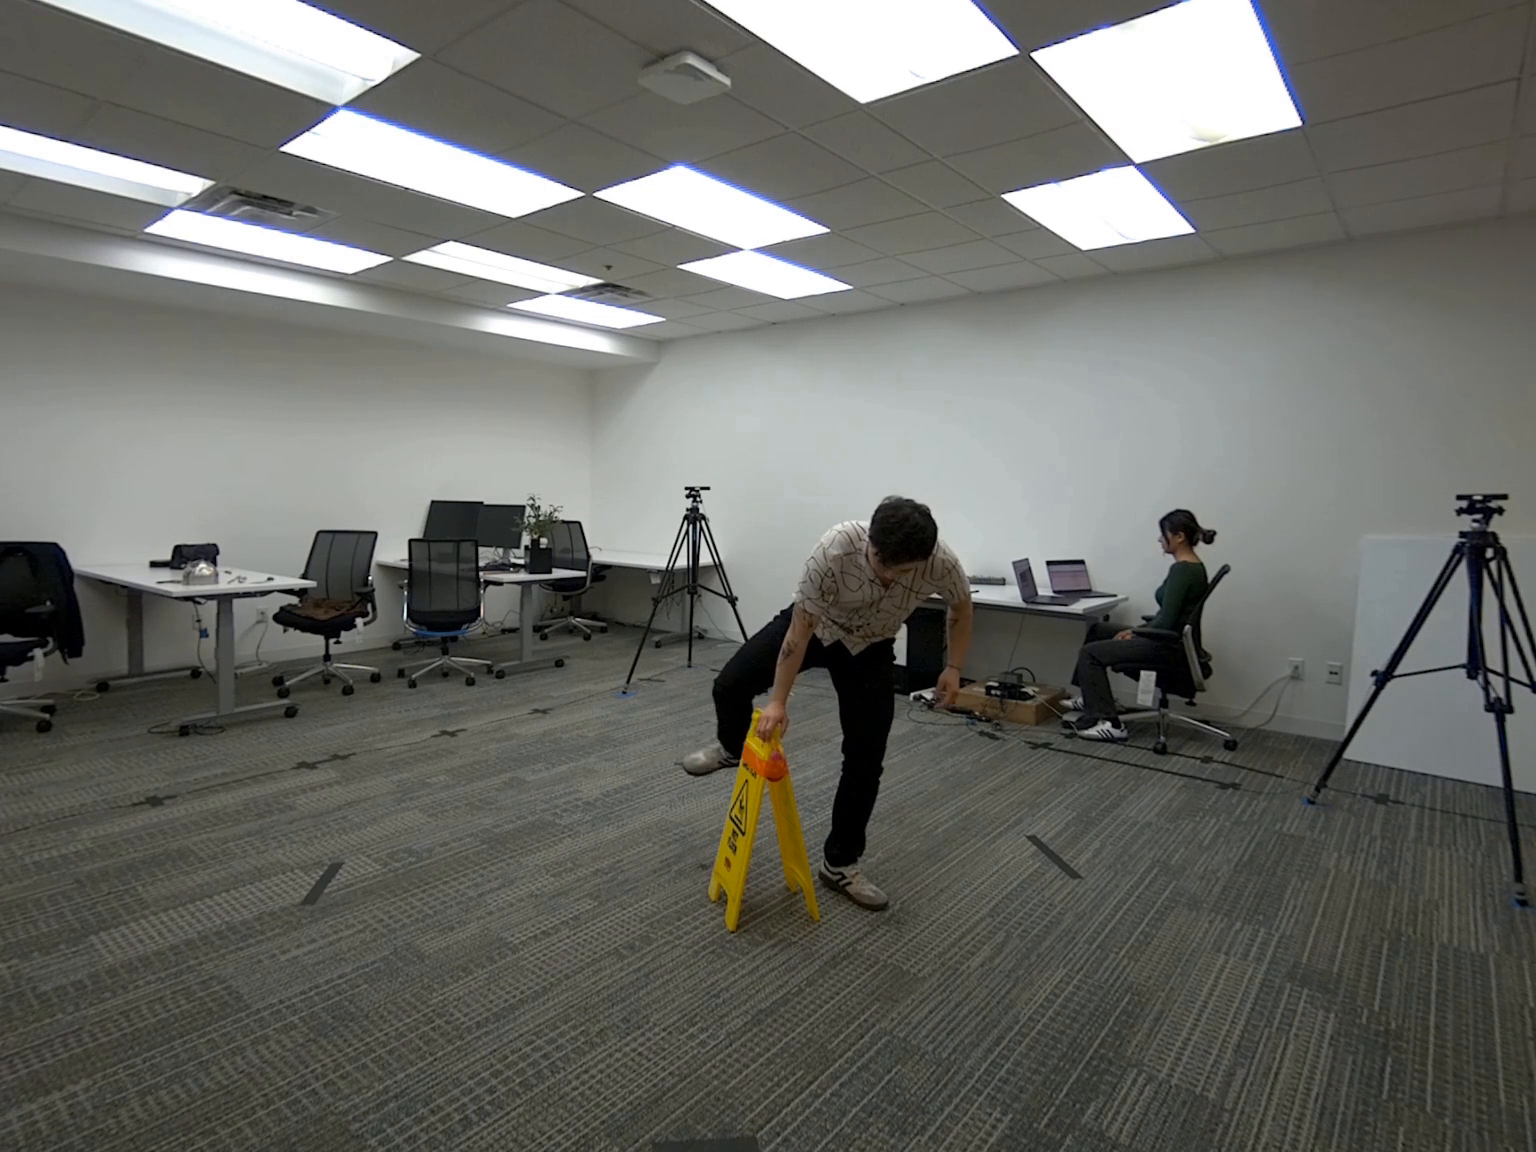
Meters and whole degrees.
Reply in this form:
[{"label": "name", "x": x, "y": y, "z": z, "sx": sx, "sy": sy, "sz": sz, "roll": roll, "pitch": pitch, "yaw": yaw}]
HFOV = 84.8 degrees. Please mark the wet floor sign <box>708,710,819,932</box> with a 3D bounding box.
[{"label": "wet floor sign", "x": -0.019, "y": 0.770, "z": 2.811, "sx": 0.285, "sy": 0.644, "sz": 0.288, "roll": 1, "pitch": 3, "yaw": -17}]
